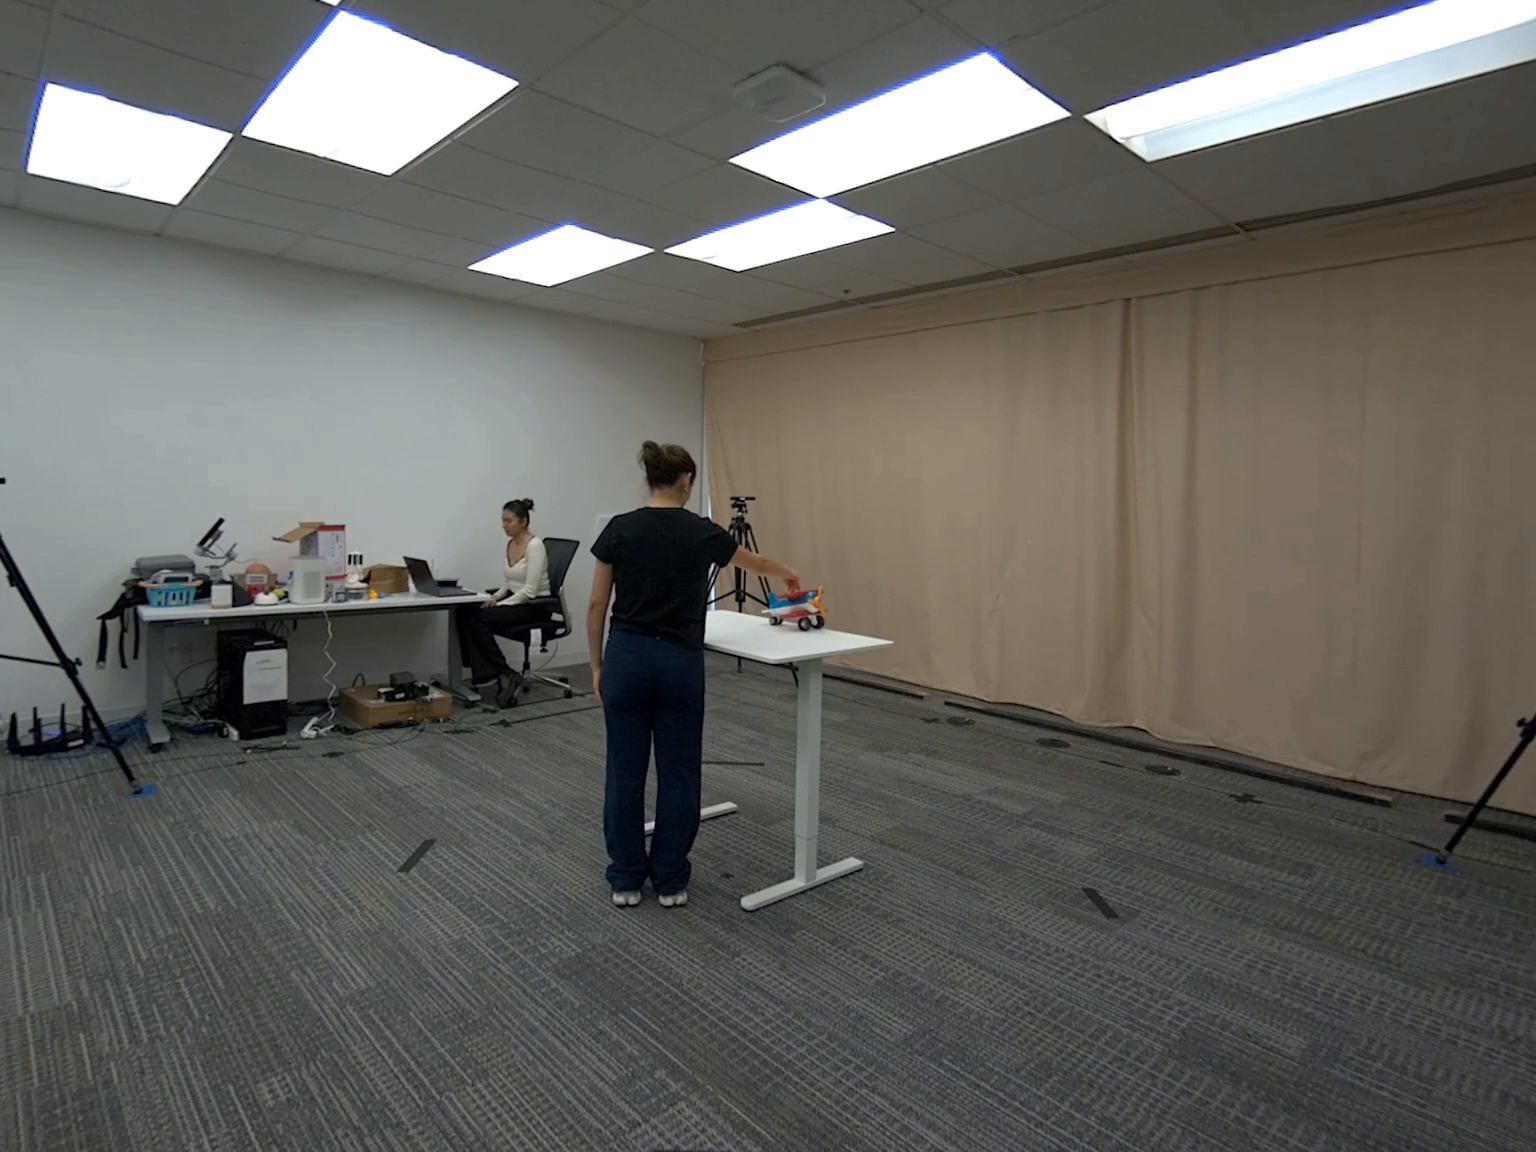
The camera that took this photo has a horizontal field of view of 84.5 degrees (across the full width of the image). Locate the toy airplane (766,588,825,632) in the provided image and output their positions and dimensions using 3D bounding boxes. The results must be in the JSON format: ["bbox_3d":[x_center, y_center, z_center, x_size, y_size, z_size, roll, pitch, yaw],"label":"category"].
[{"bbox_3d":[0.092,0.133,3.342,0.262,0.156,0.249,3,5,12],"label":"toy airplane"}]
